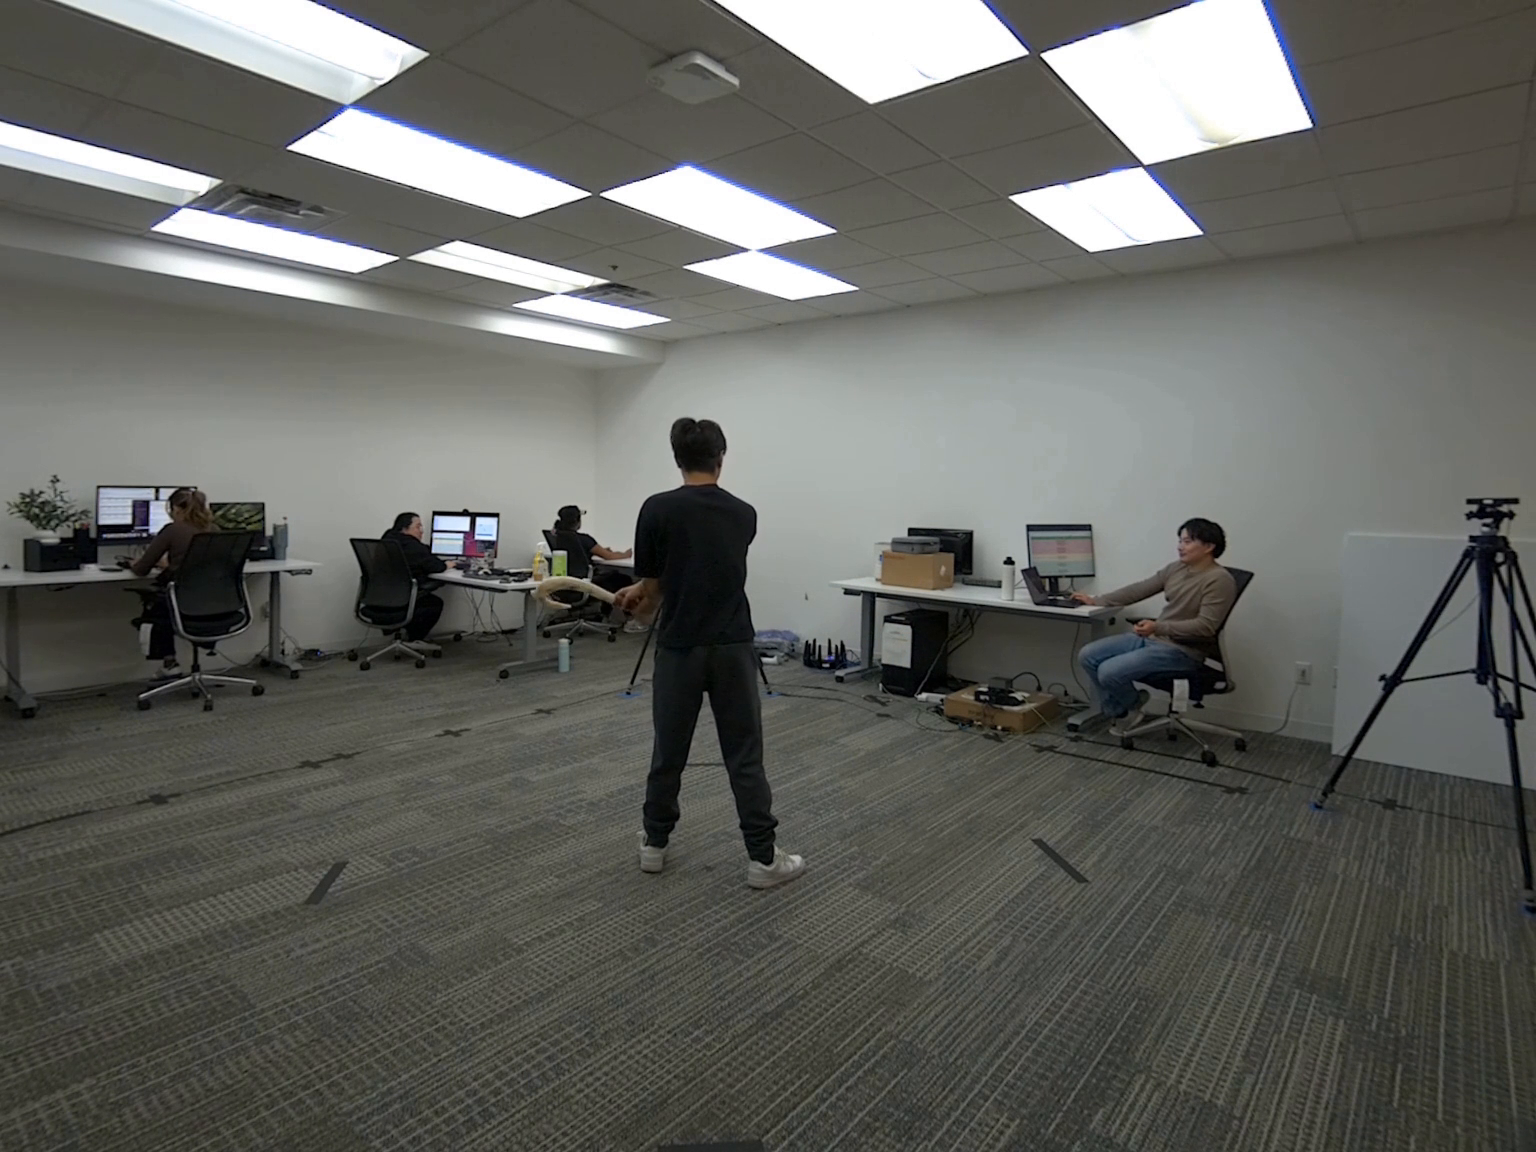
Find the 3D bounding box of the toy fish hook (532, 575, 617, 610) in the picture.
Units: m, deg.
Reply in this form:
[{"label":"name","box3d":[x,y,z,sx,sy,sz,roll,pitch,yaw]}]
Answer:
[{"label":"toy fish hook","box3d":[-0.683,0.107,3.352,0.490,0.049,0.226,18,-34,-31]}]
